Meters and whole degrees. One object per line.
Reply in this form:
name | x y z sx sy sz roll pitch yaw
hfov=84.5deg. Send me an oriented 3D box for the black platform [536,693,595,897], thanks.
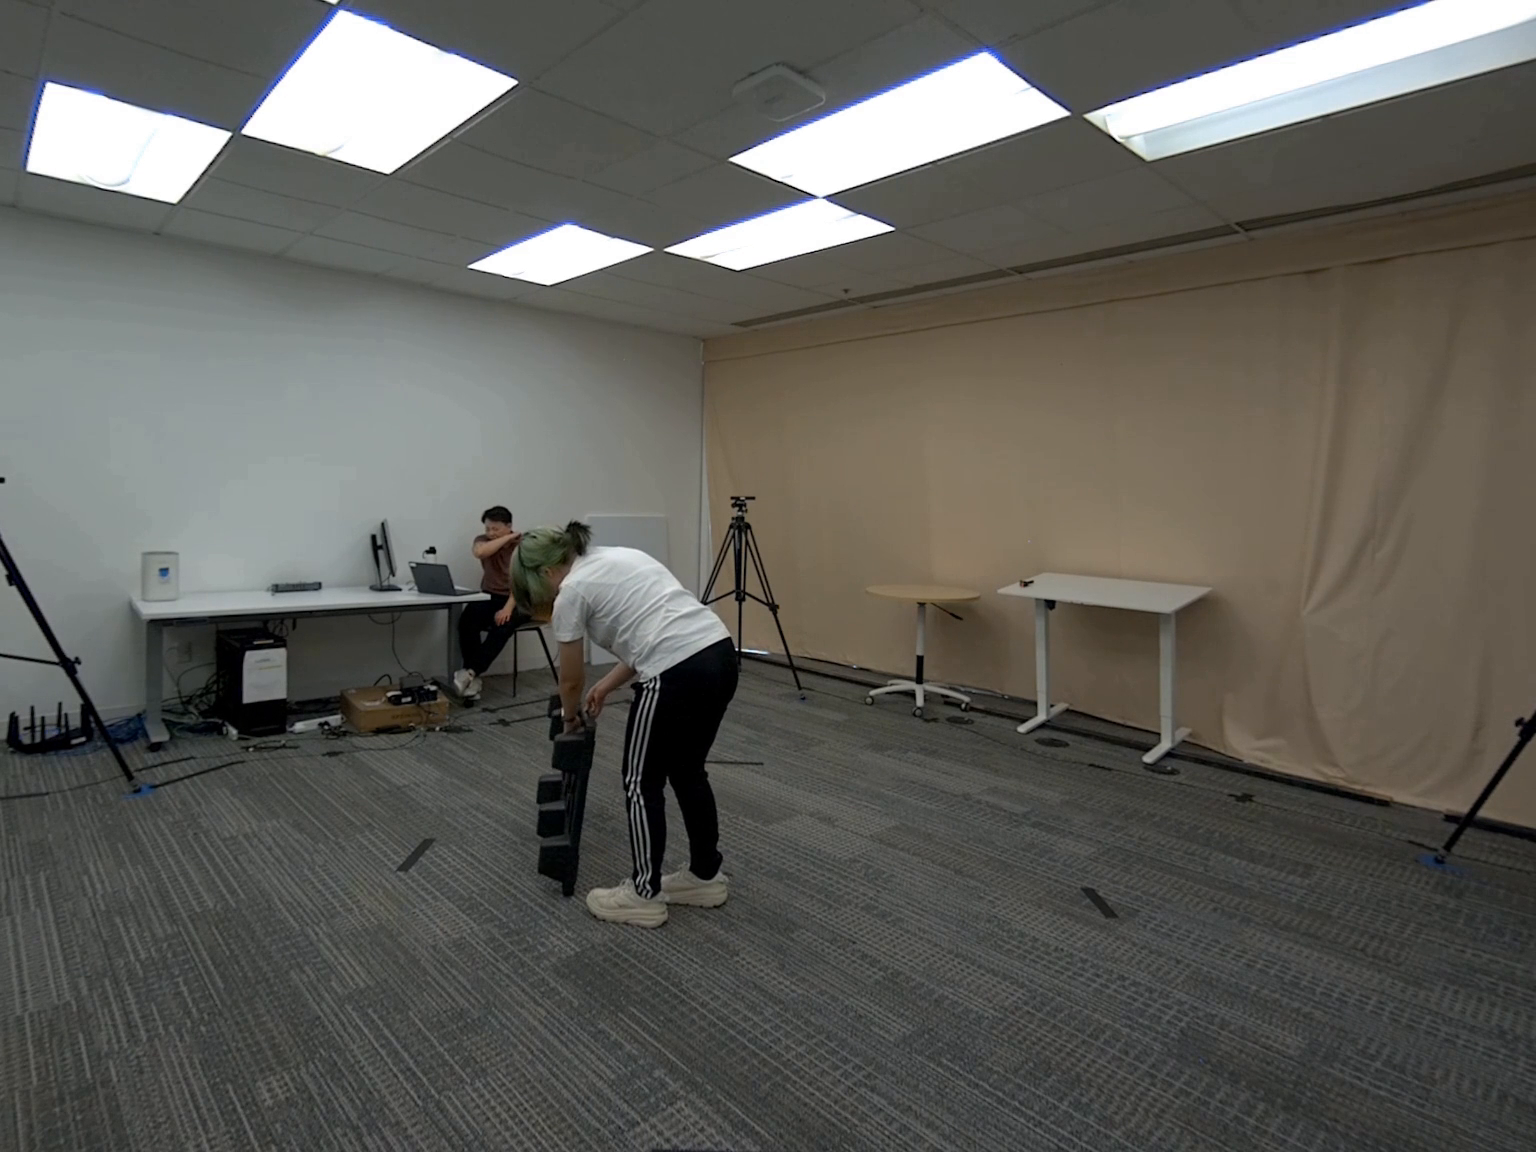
black platform | -0.810 0.776 3.278 0.141 0.604 0.817 7 3 -16
